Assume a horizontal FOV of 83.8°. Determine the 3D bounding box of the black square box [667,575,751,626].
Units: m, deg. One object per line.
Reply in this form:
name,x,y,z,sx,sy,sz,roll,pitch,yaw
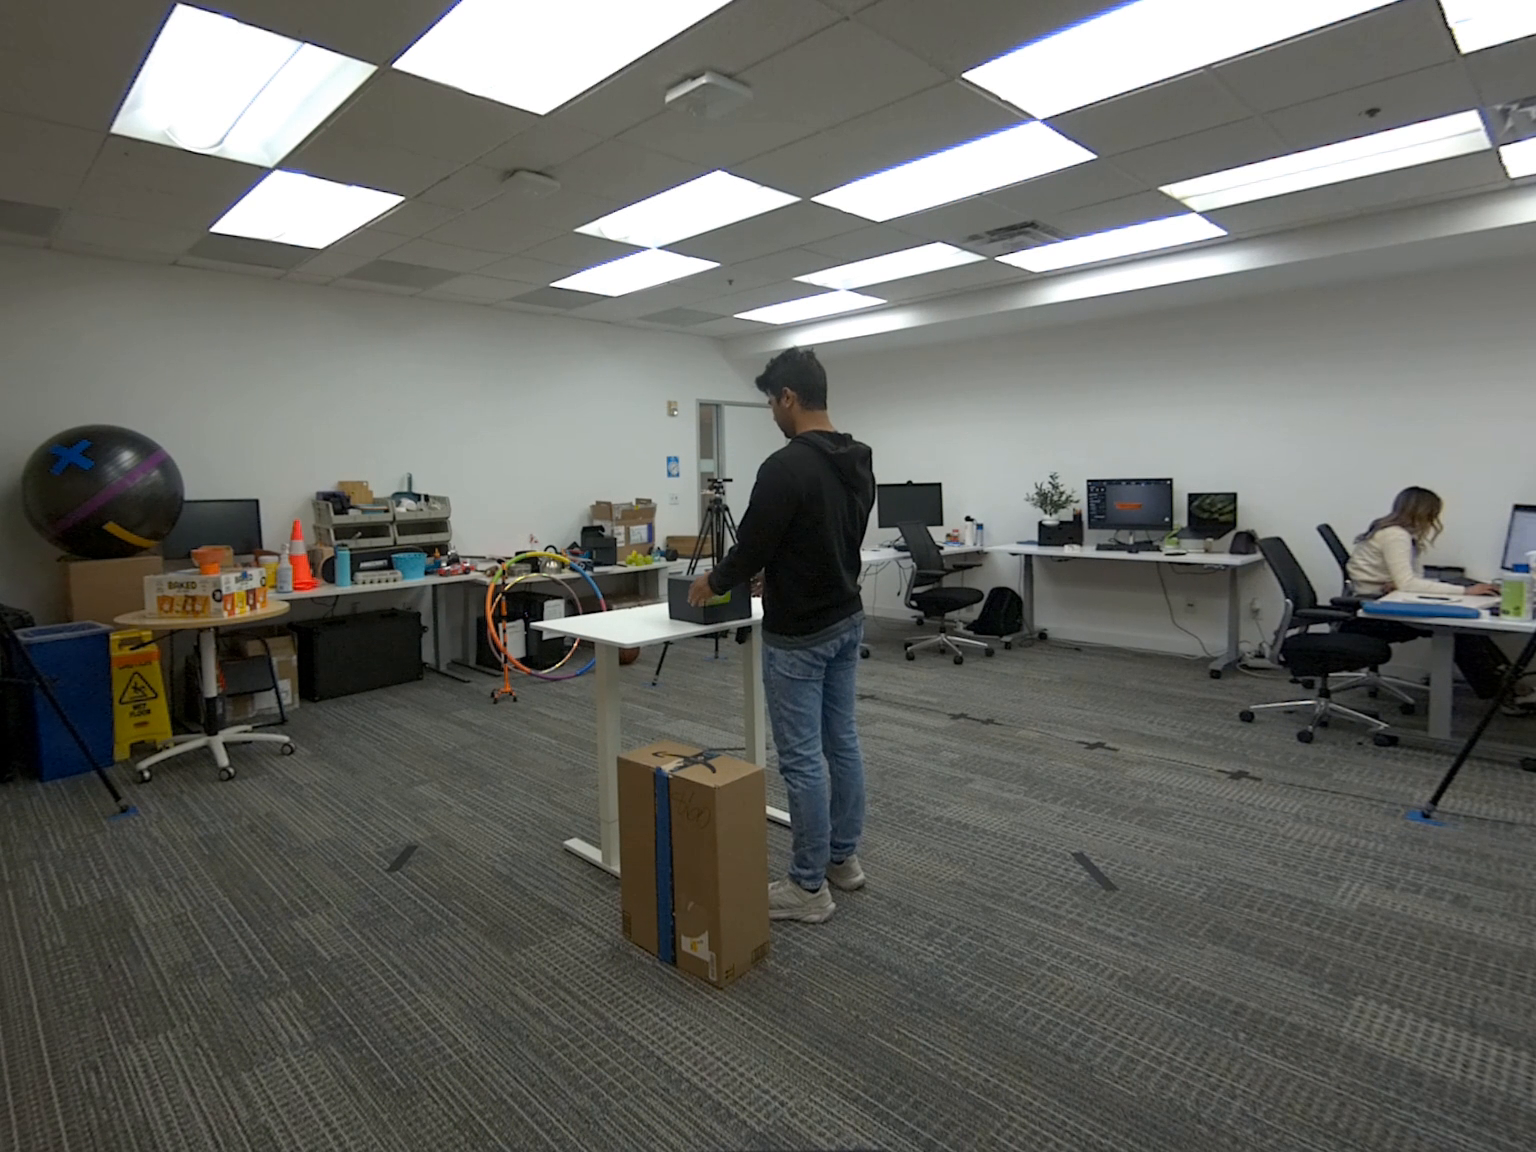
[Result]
black square box,-0.220,0.079,3.165,0.222,0.155,0.223,-6,7,-41
